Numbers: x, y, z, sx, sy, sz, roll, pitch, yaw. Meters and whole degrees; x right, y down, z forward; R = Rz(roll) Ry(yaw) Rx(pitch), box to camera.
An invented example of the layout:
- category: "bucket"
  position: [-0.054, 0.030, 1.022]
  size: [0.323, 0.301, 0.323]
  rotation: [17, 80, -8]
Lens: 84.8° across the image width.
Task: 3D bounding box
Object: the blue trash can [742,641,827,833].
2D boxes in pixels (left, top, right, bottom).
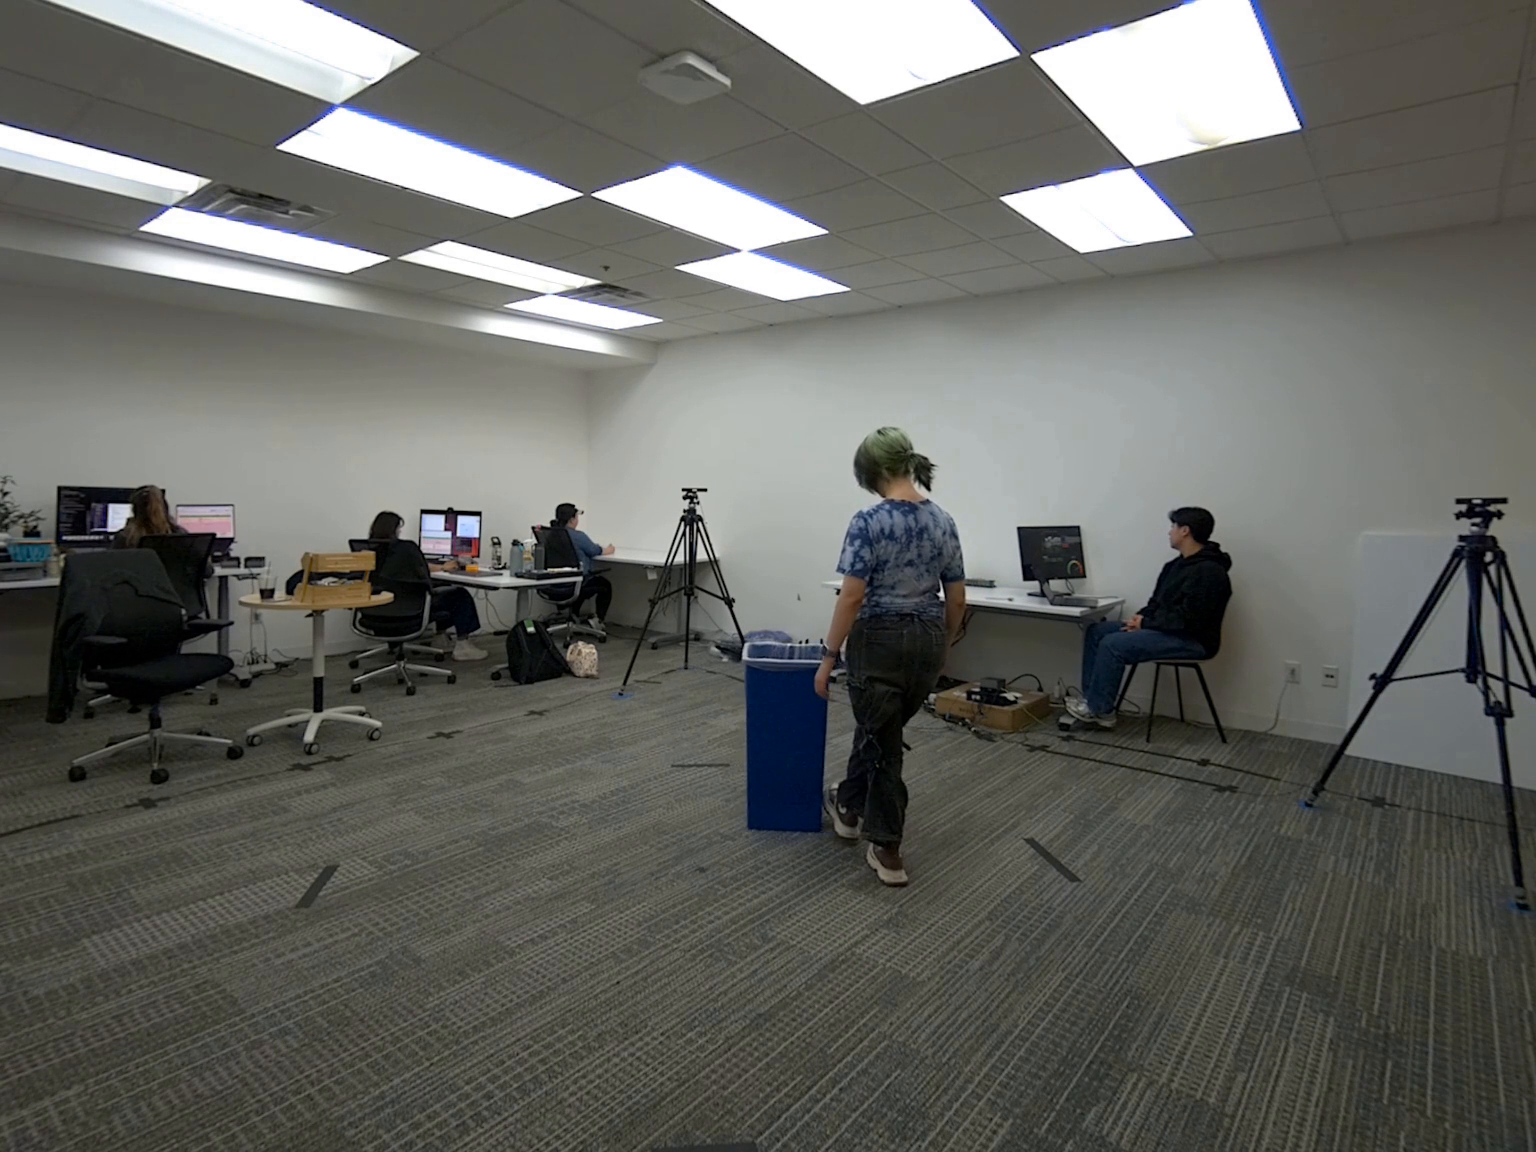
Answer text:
- category: "blue trash can"
  position: [0.067, 0.671, 3.603]
  size: [0.379, 0.711, 0.374]
  rotation: [1, 3, 2]
